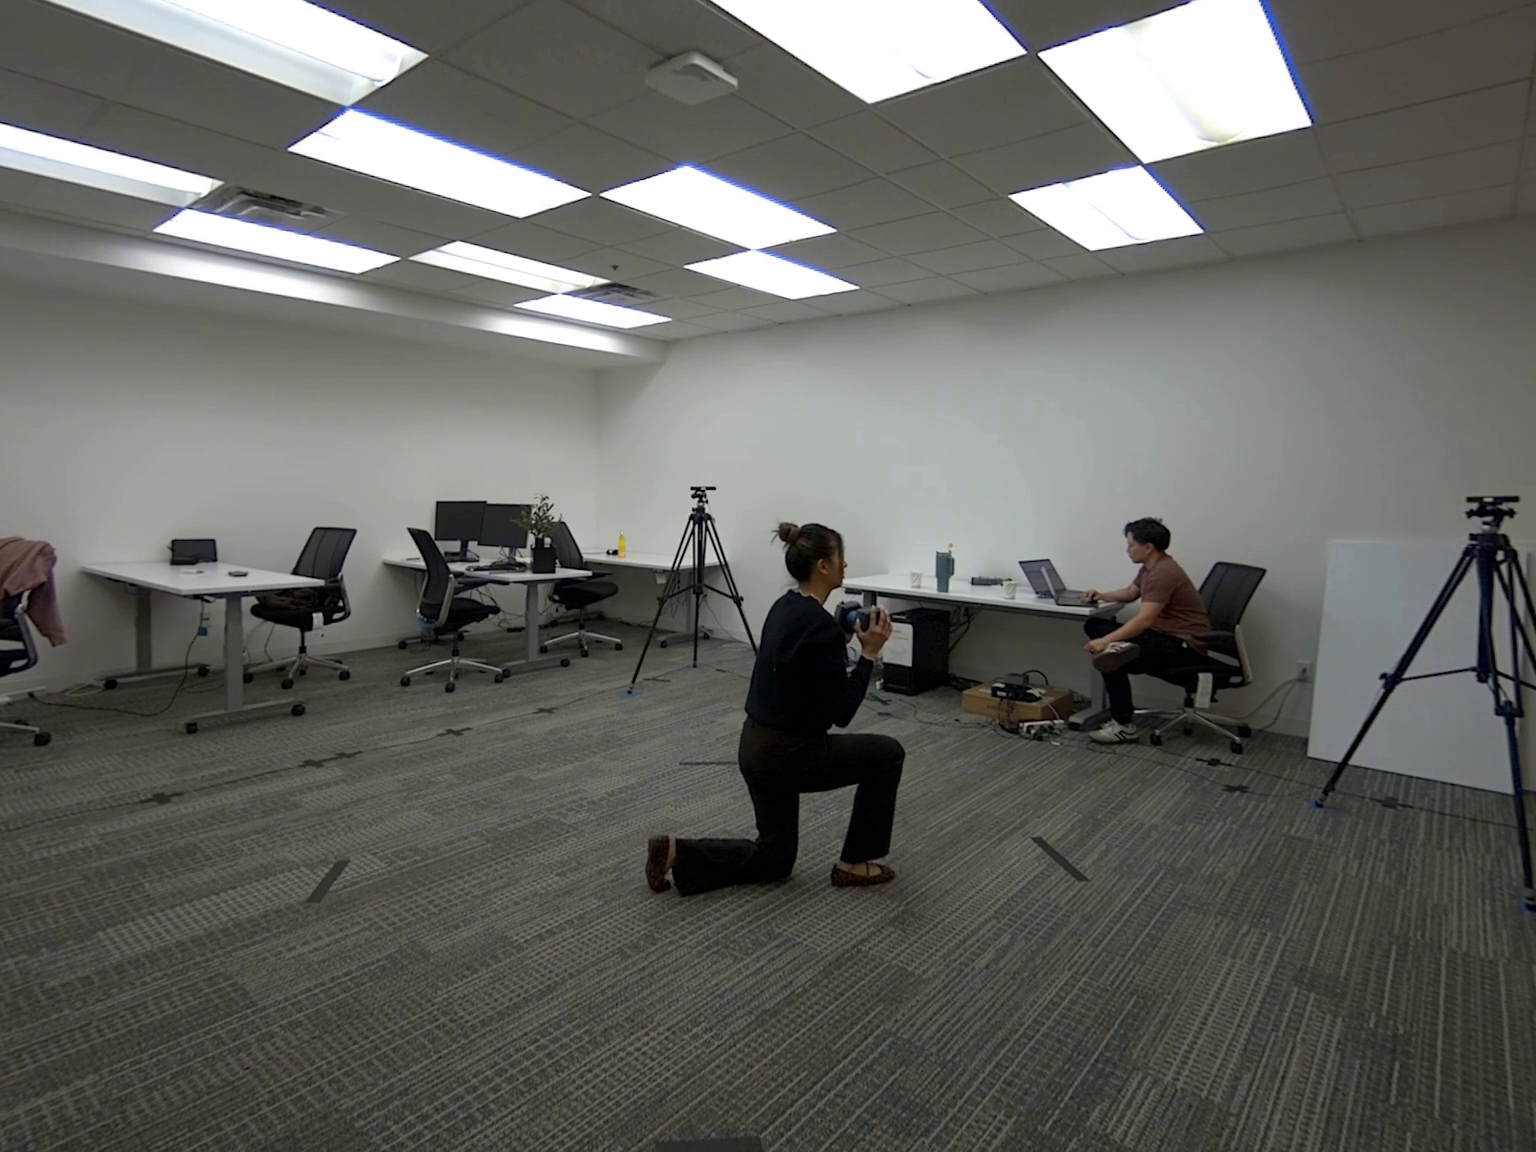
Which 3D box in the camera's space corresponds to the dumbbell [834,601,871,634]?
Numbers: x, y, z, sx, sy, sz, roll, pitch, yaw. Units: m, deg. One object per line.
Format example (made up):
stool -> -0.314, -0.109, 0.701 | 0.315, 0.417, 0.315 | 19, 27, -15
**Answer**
dumbbell -> 0.300, 0.148, 3.002 | 0.122, 0.108, 0.297 | -11, 5, -11
